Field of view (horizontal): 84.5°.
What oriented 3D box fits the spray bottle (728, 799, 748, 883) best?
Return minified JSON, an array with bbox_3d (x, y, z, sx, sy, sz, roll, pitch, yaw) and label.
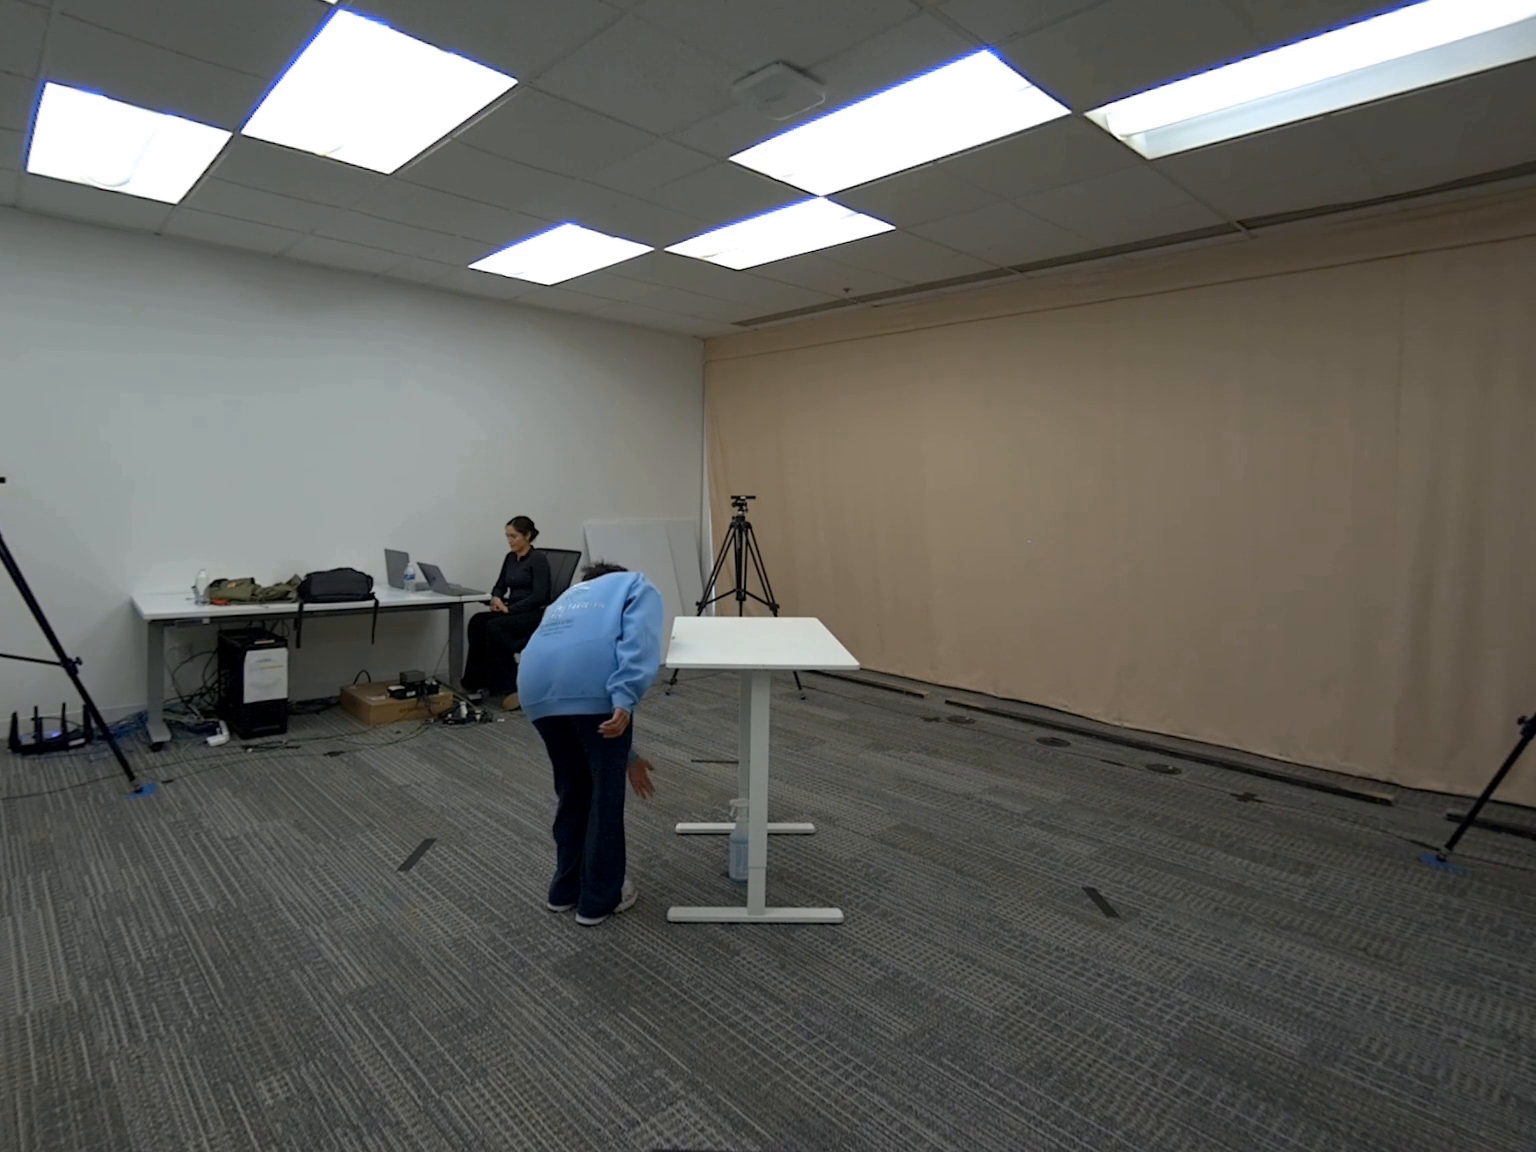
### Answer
[{"bbox_3d":[-0.106,0.961,3.069,0.089,0.296,0.088,2,6,-6],"label":"spray bottle"}]
